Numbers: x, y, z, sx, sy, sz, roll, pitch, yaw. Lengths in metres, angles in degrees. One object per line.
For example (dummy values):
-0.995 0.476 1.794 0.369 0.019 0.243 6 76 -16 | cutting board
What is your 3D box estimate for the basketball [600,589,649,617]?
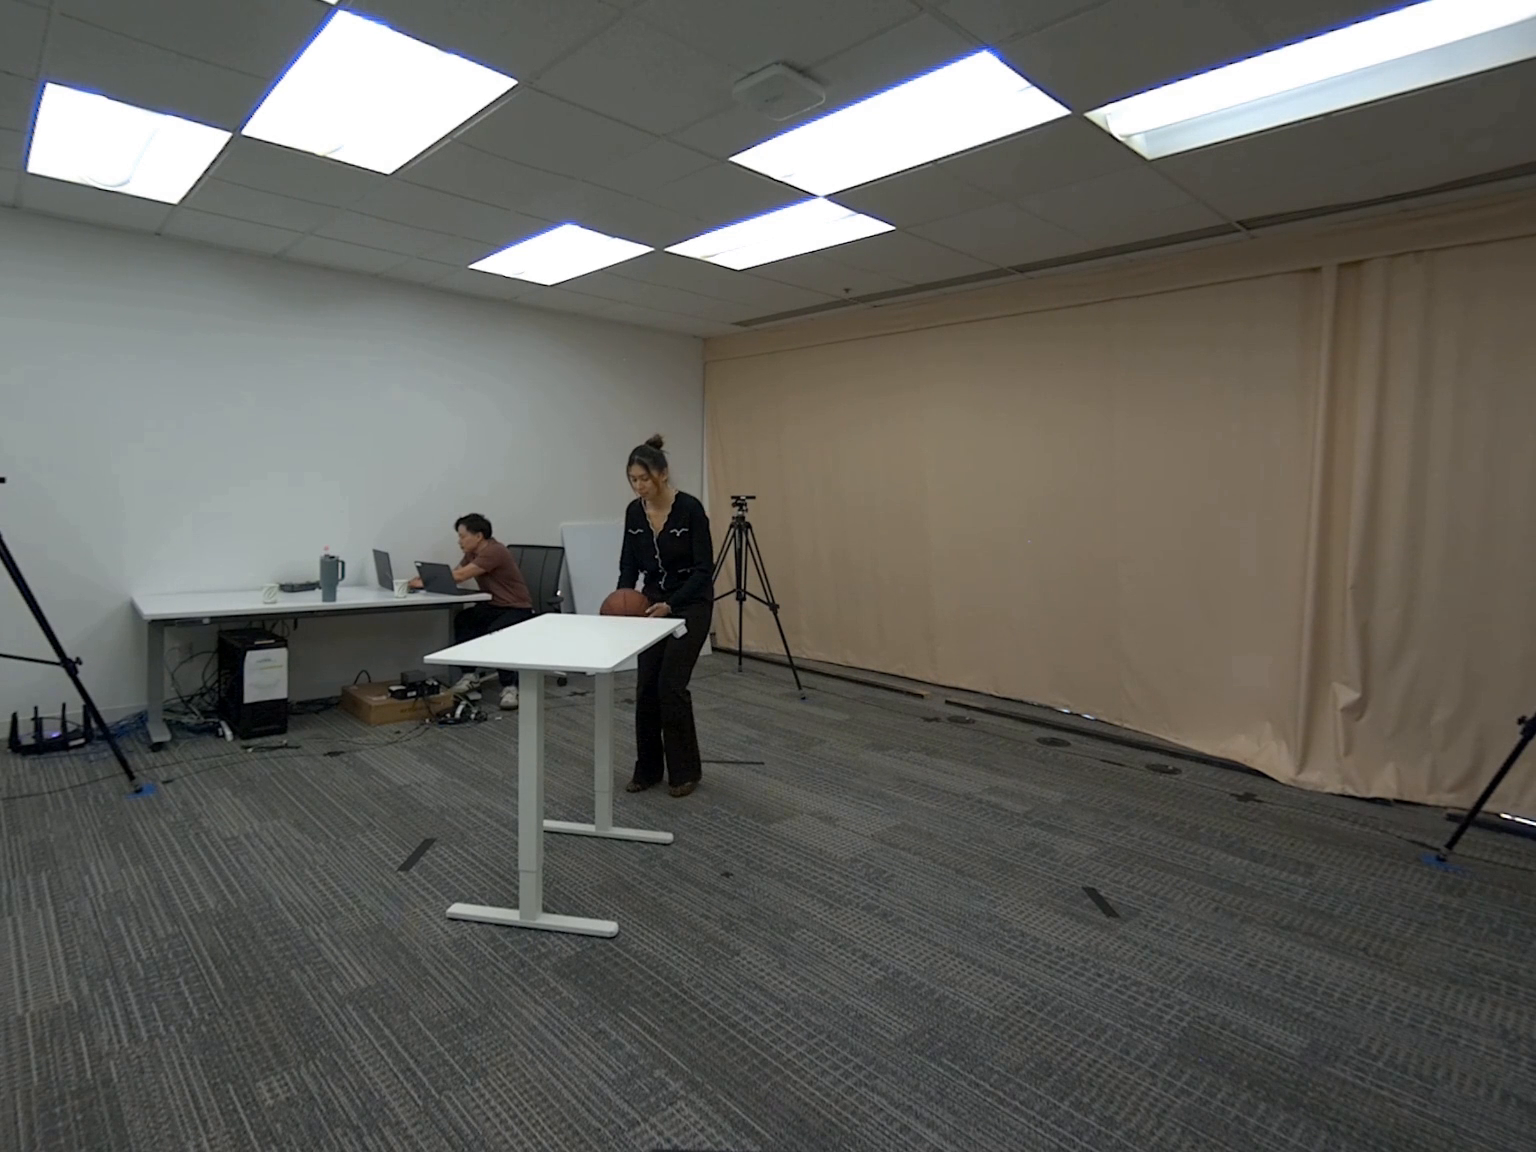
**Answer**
-0.645 0.179 3.742 0.236 0.235 0.237 1 4 -1 | basketball
